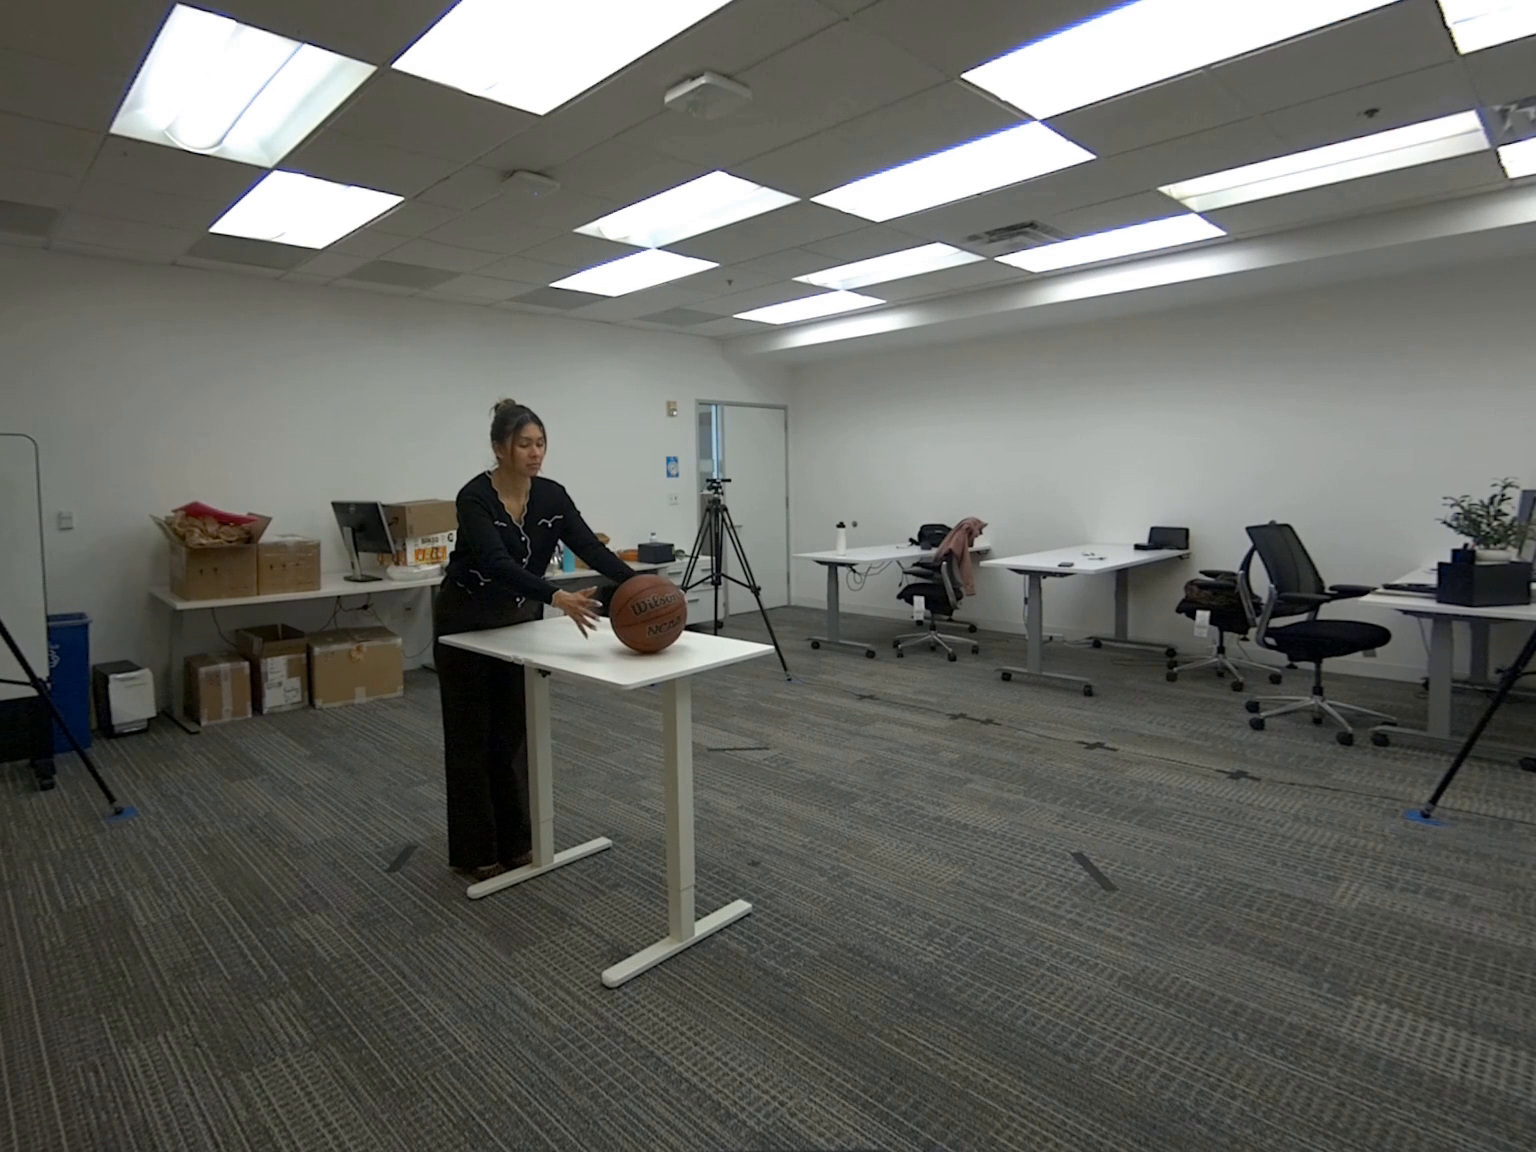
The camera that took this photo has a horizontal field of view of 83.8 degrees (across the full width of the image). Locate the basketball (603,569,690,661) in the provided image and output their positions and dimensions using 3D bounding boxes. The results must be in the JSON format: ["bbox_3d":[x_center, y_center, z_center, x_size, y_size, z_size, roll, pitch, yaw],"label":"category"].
[{"bbox_3d":[-0.362,0.111,2.586,0.236,0.235,0.237,-1,5,-2],"label":"basketball"}]
